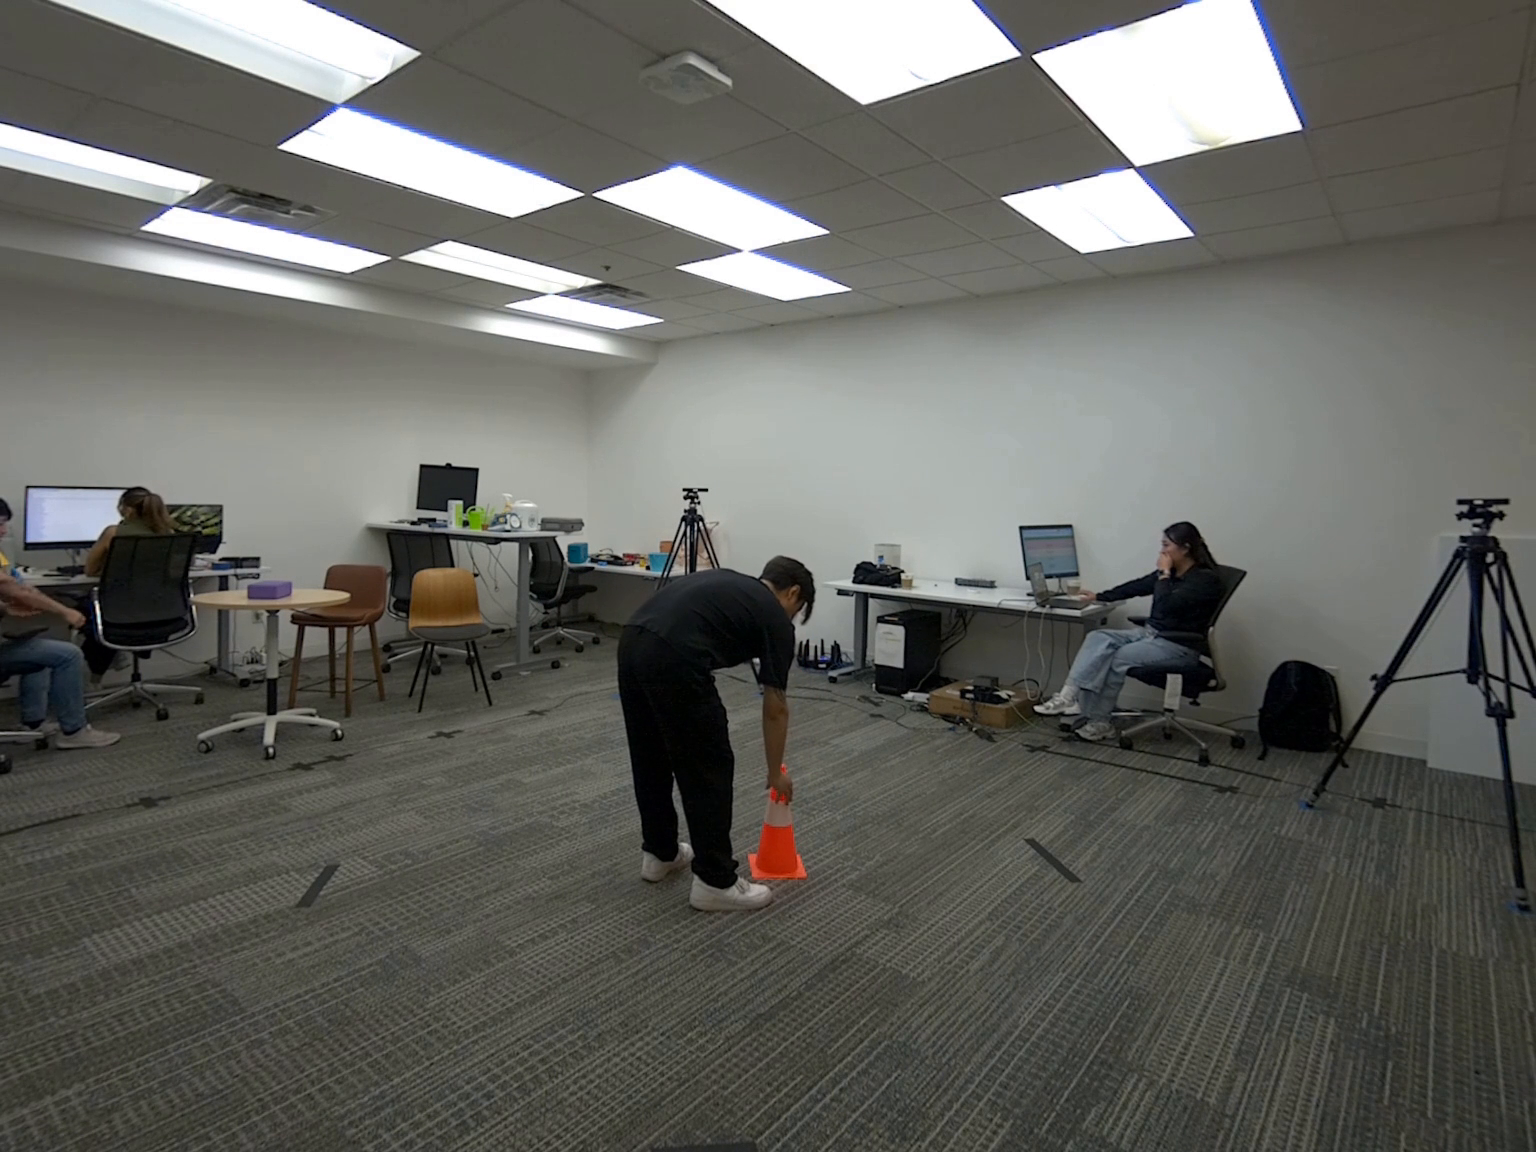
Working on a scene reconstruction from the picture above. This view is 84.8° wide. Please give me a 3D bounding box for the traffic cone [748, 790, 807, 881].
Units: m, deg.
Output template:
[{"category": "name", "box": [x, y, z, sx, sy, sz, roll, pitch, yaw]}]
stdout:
[{"category": "traffic cone", "box": [0.028, 0.882, 3.148, 0.202, 0.383, 0.206, 2, 1, -5]}]
